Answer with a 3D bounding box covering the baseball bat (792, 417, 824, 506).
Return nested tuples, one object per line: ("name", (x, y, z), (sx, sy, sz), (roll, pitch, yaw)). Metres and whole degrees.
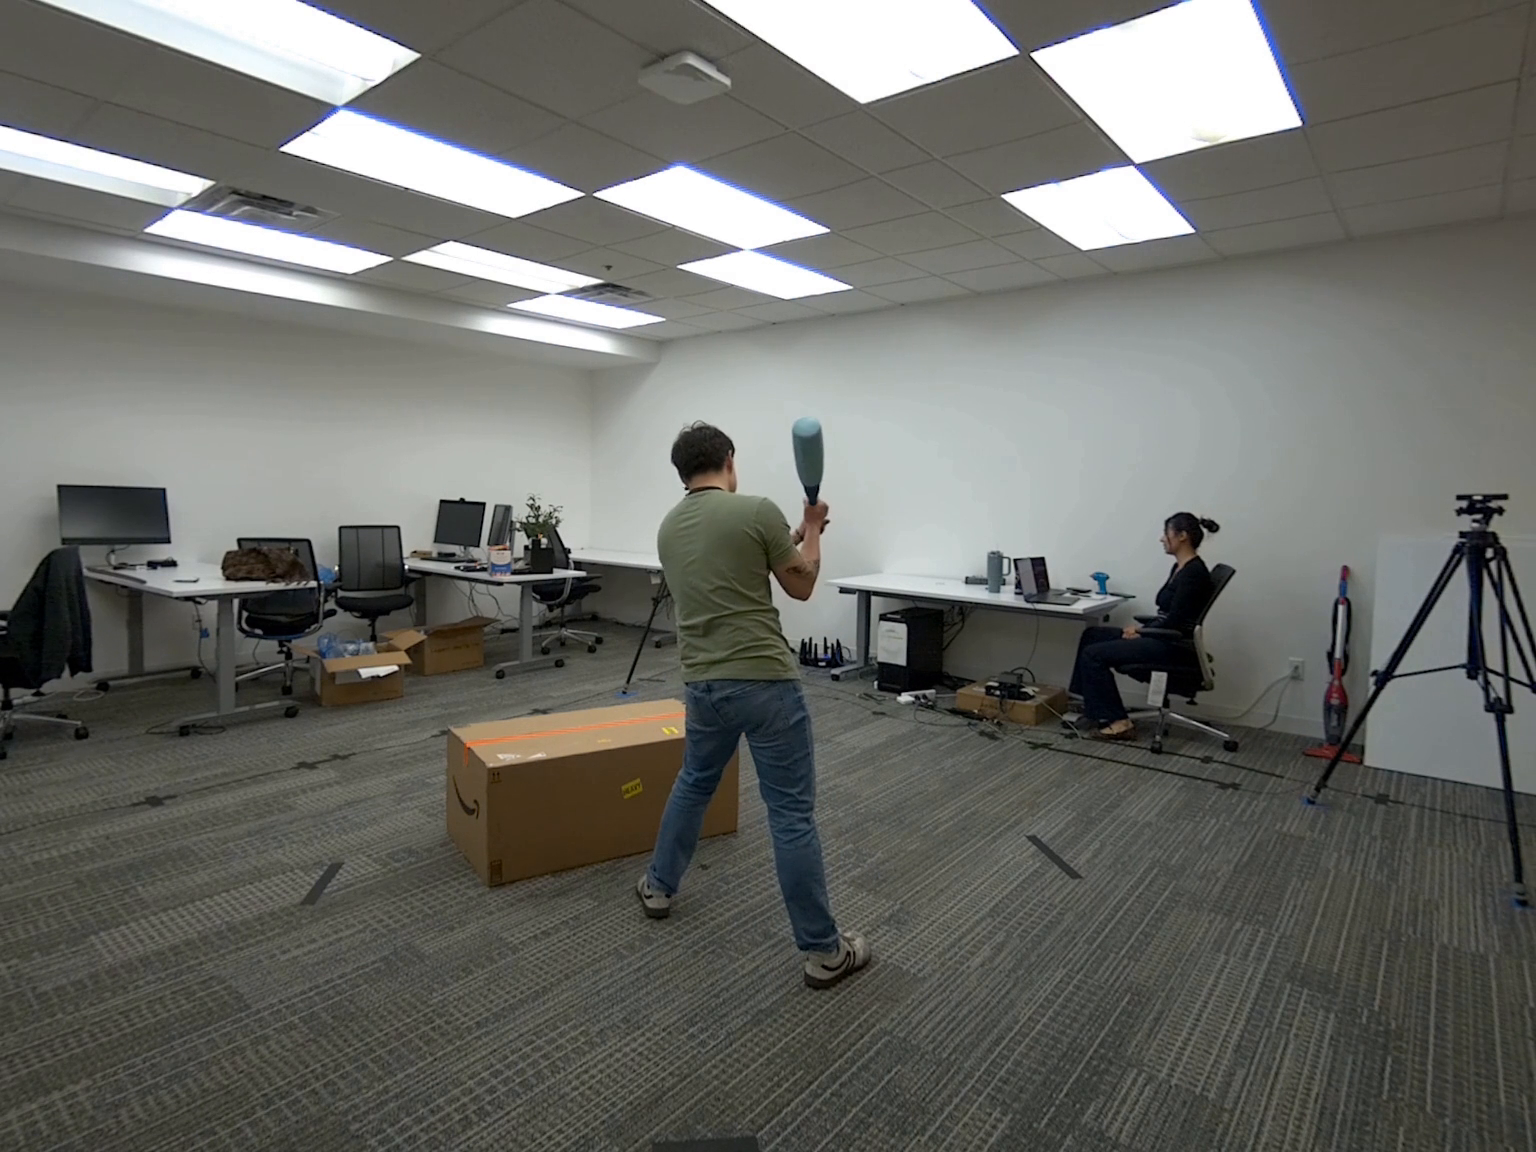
("baseball bat", (0.108, -0.285, 2.671), (0.089, 0.091, 0.527), (2, -34, 3))
